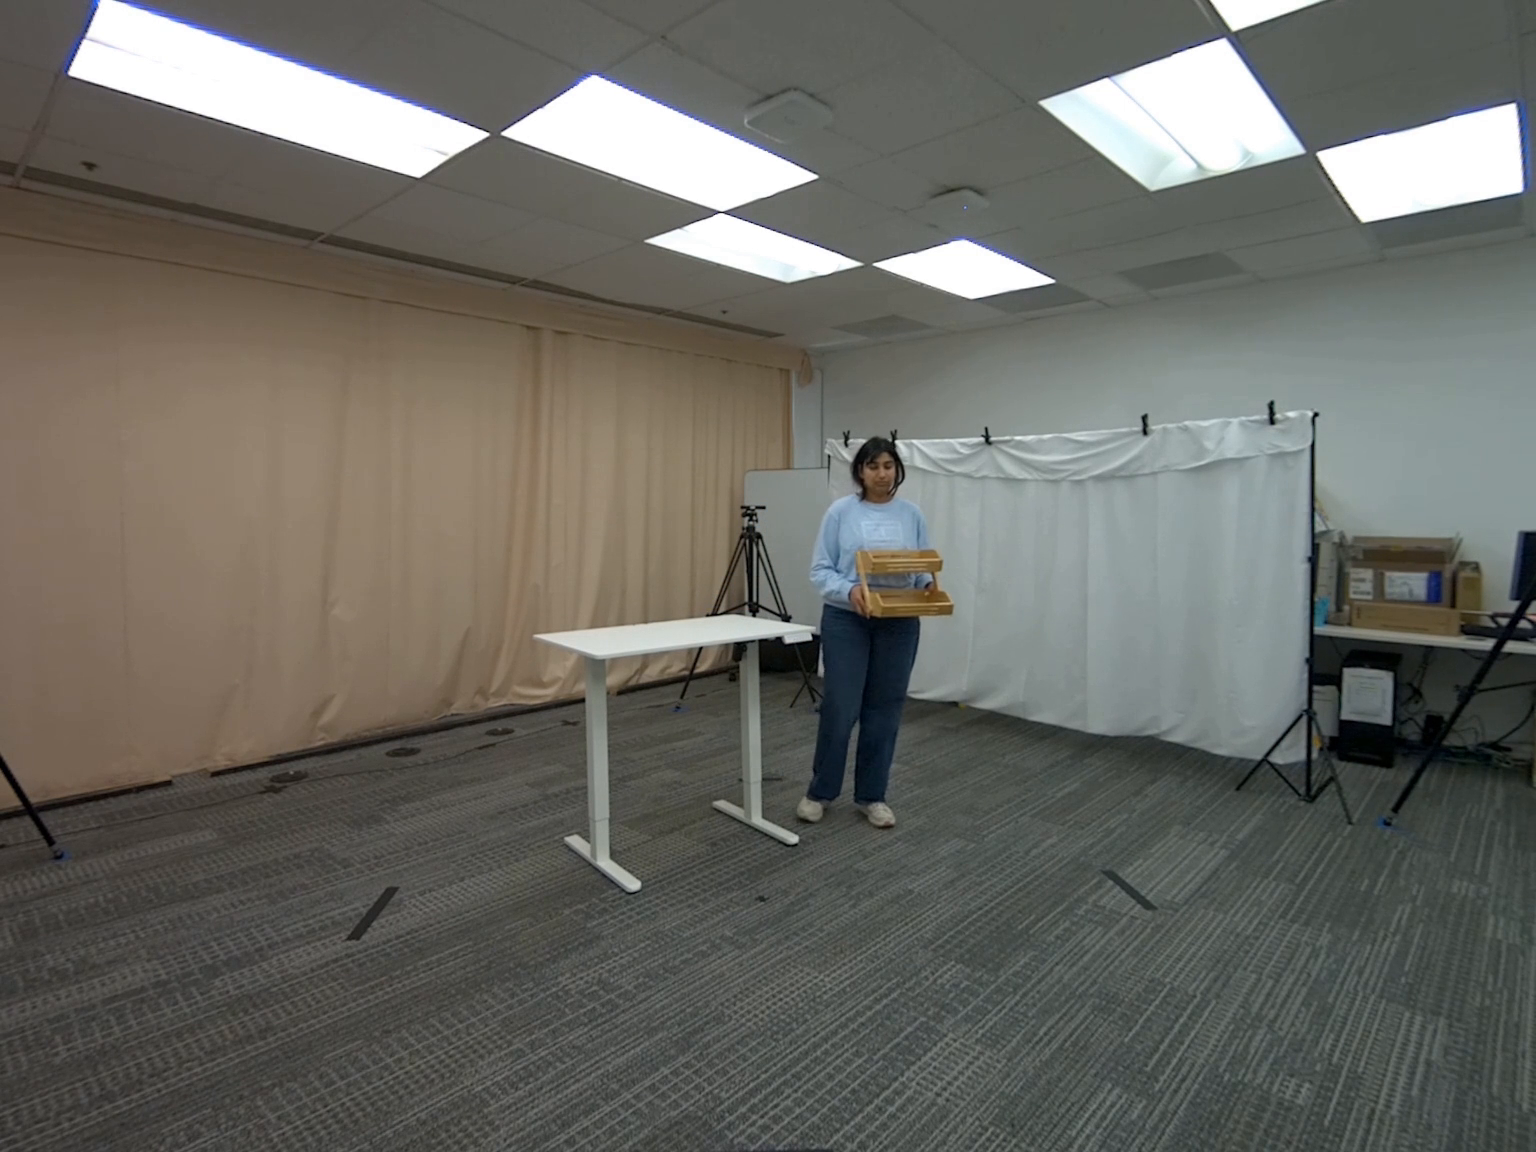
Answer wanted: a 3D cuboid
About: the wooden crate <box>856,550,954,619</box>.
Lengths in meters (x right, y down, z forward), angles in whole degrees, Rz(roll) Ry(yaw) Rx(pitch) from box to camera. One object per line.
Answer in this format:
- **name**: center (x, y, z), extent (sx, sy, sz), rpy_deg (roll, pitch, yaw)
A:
- **wooden crate**: center (0.558, 0.020, 3.456), extent (0.320, 0.273, 0.306), rpy_deg (-1, 0, -12)
